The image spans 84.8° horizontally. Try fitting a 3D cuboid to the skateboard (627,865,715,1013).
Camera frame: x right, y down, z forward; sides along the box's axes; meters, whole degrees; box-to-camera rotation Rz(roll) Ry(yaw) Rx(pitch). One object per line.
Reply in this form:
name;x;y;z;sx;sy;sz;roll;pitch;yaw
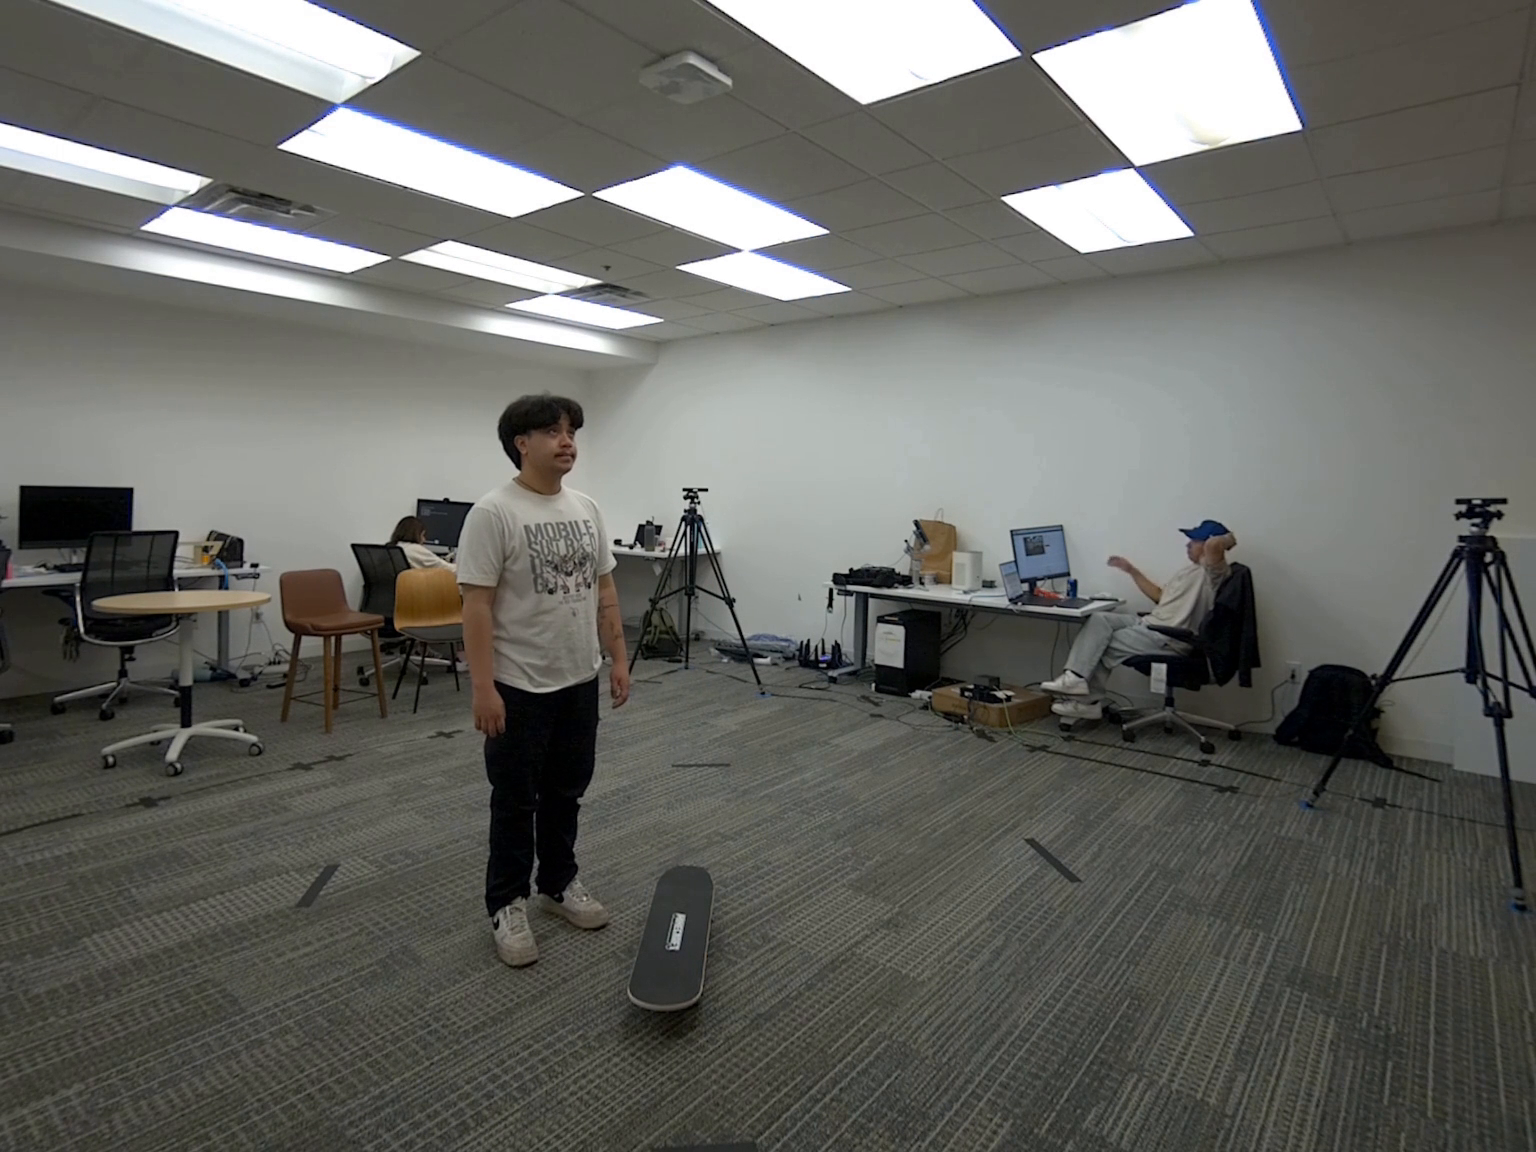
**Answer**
skateboard;-0.276;1.073;2.496;0.194;0.110;0.787;1;6;0
